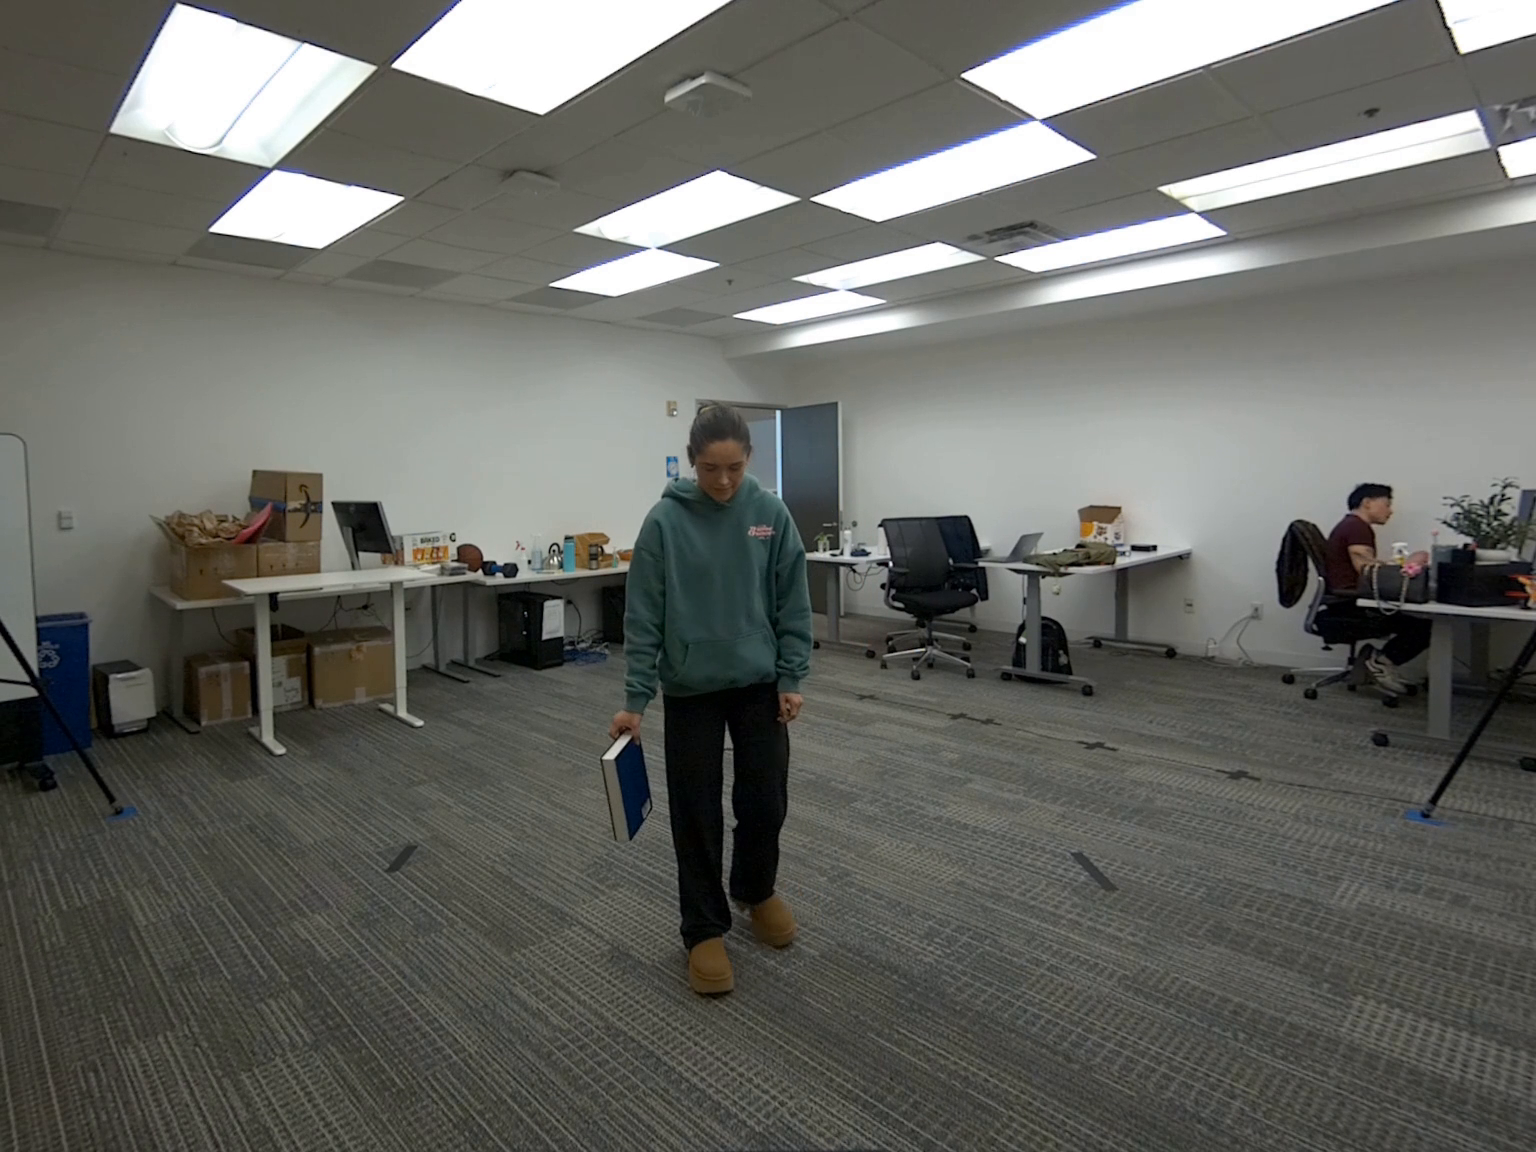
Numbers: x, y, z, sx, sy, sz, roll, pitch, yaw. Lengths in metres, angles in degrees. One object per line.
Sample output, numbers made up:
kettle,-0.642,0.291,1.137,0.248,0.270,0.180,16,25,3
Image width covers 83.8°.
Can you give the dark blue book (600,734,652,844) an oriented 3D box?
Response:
dark blue book,-0.361,0.558,2.278,0.046,0.242,0.162,-2,14,19
